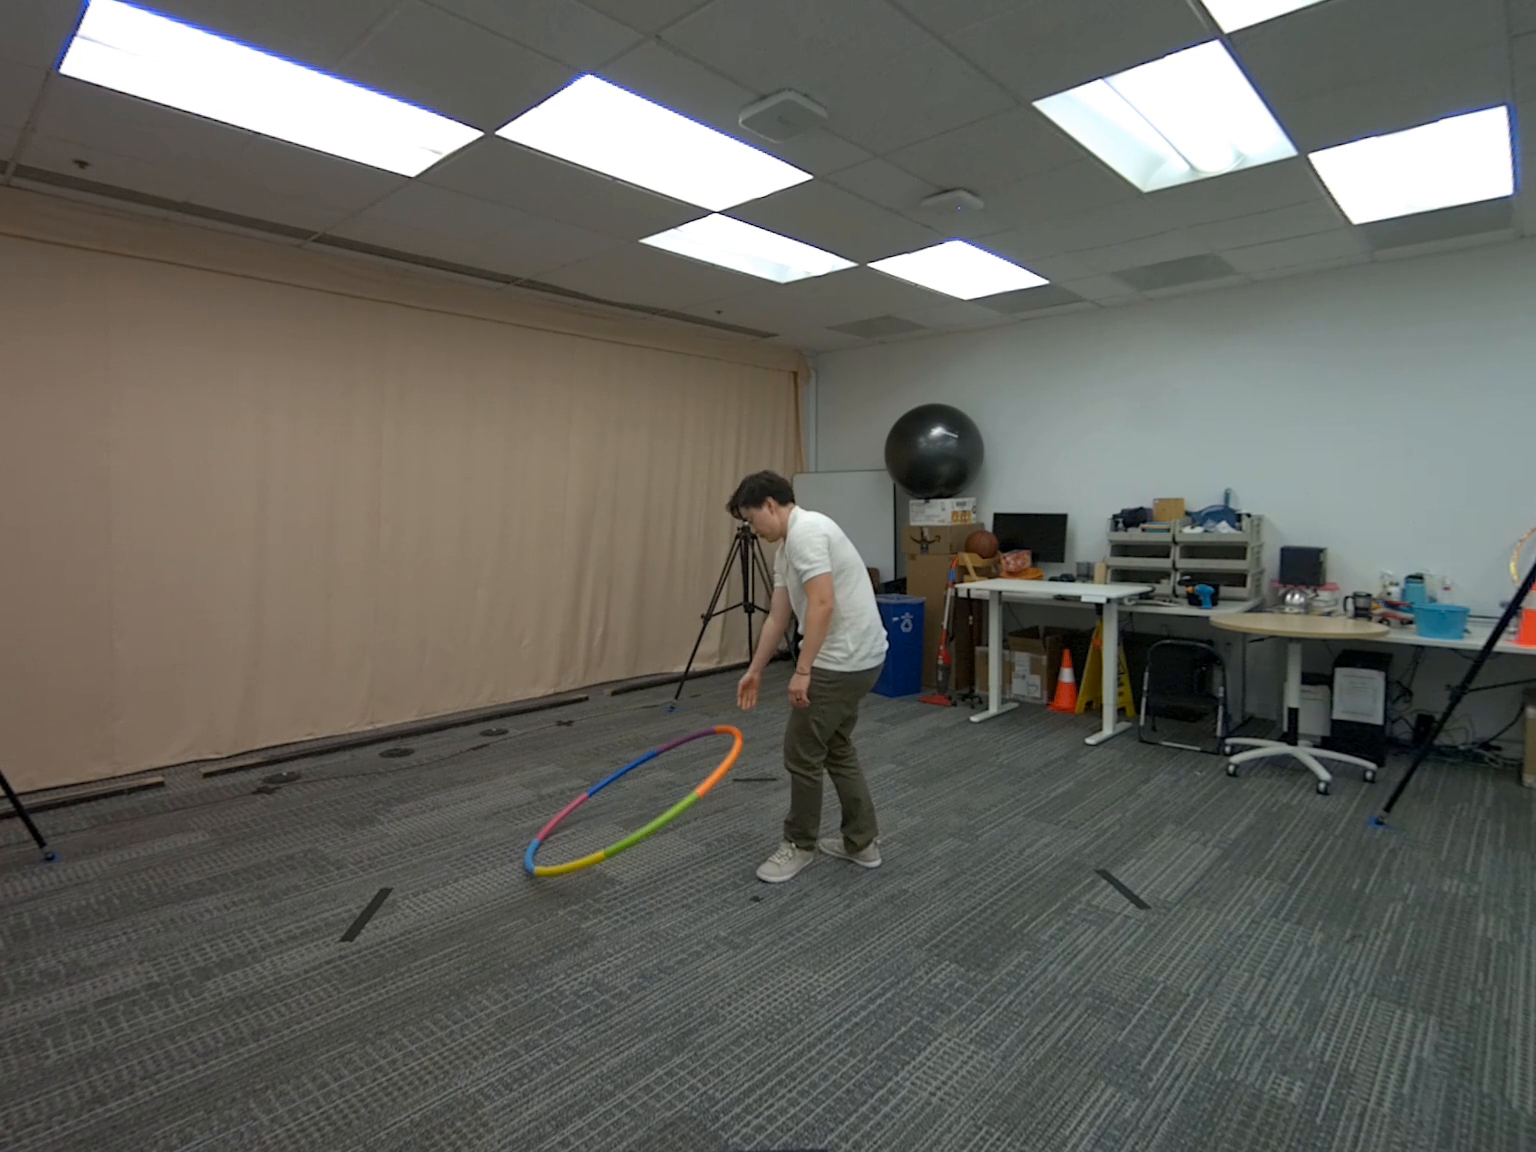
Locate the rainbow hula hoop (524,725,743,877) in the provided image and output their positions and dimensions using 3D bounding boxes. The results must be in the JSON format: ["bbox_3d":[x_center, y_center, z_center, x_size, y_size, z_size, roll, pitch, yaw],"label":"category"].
[{"bbox_3d":[-0.532,0.884,3.384,0.979,0.035,0.983,-28,7,1],"label":"rainbow hula hoop"}]
